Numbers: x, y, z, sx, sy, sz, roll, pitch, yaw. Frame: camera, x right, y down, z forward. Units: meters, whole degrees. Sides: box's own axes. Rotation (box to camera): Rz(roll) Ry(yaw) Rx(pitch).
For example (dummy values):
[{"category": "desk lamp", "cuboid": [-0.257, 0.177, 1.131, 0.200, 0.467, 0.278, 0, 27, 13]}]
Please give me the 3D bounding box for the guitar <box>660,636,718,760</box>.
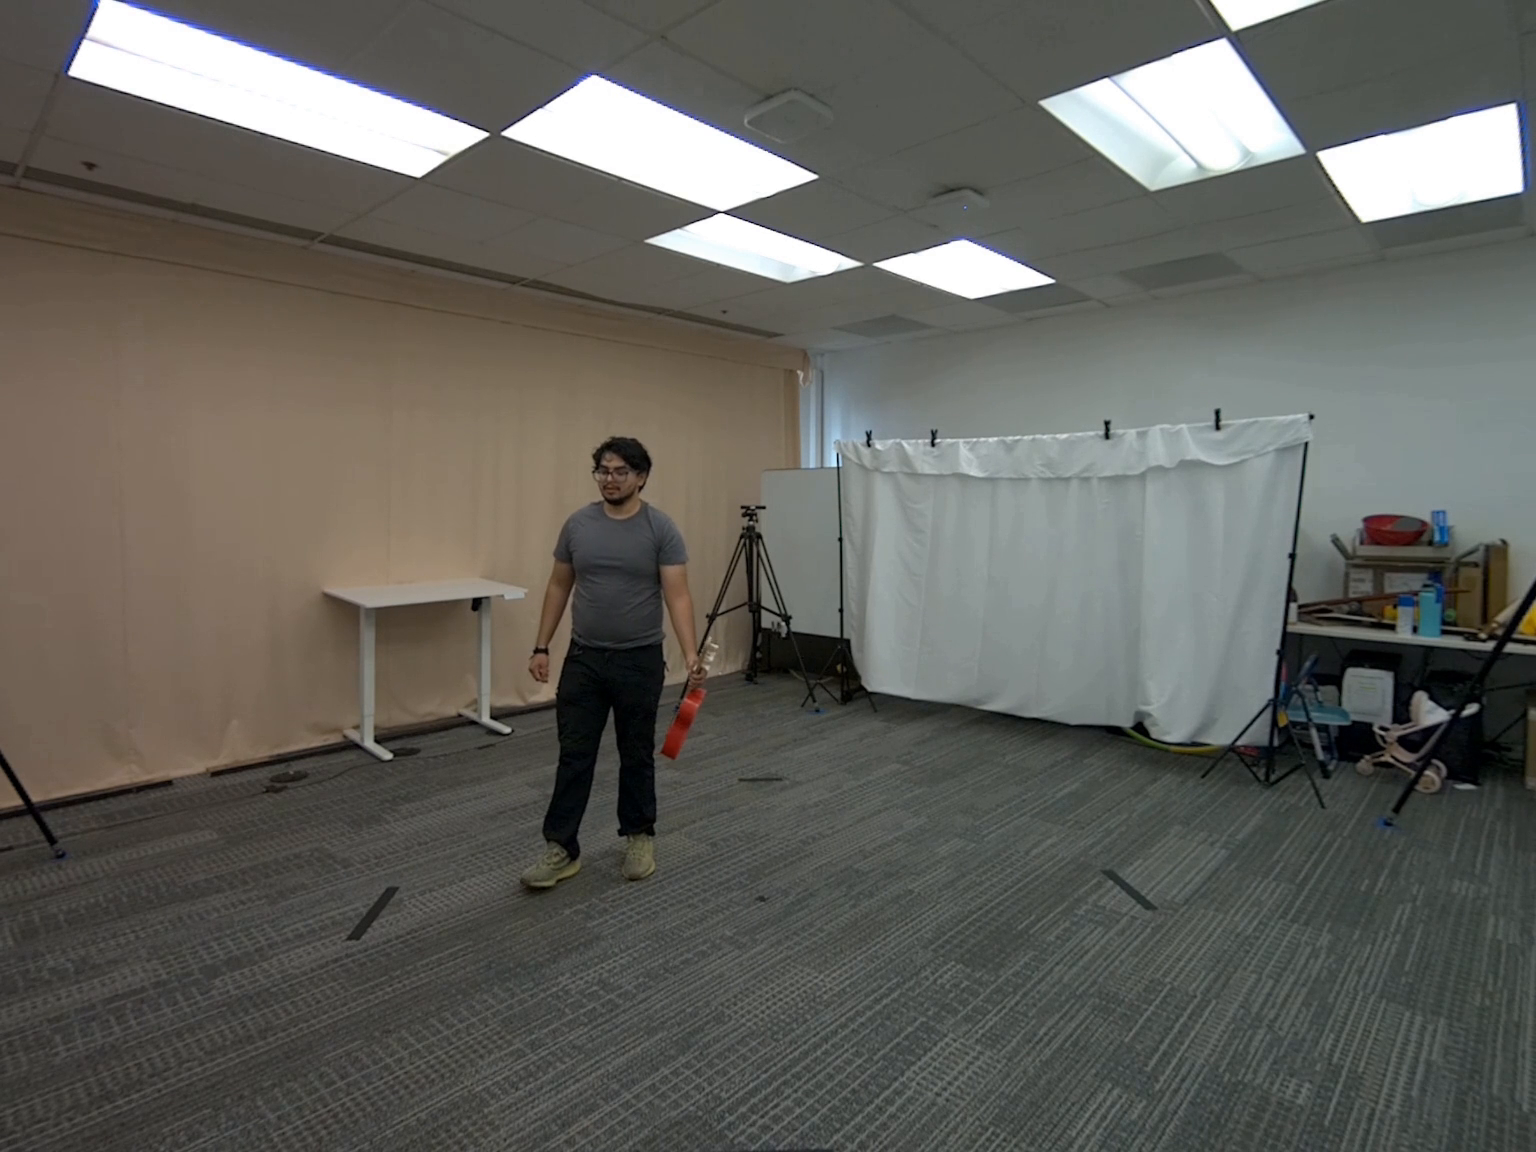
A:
[{"category": "guitar", "cuboid": [-0.266, 0.429, 2.899, 0.071, 0.495, 0.194, 22, 35, -2]}]
